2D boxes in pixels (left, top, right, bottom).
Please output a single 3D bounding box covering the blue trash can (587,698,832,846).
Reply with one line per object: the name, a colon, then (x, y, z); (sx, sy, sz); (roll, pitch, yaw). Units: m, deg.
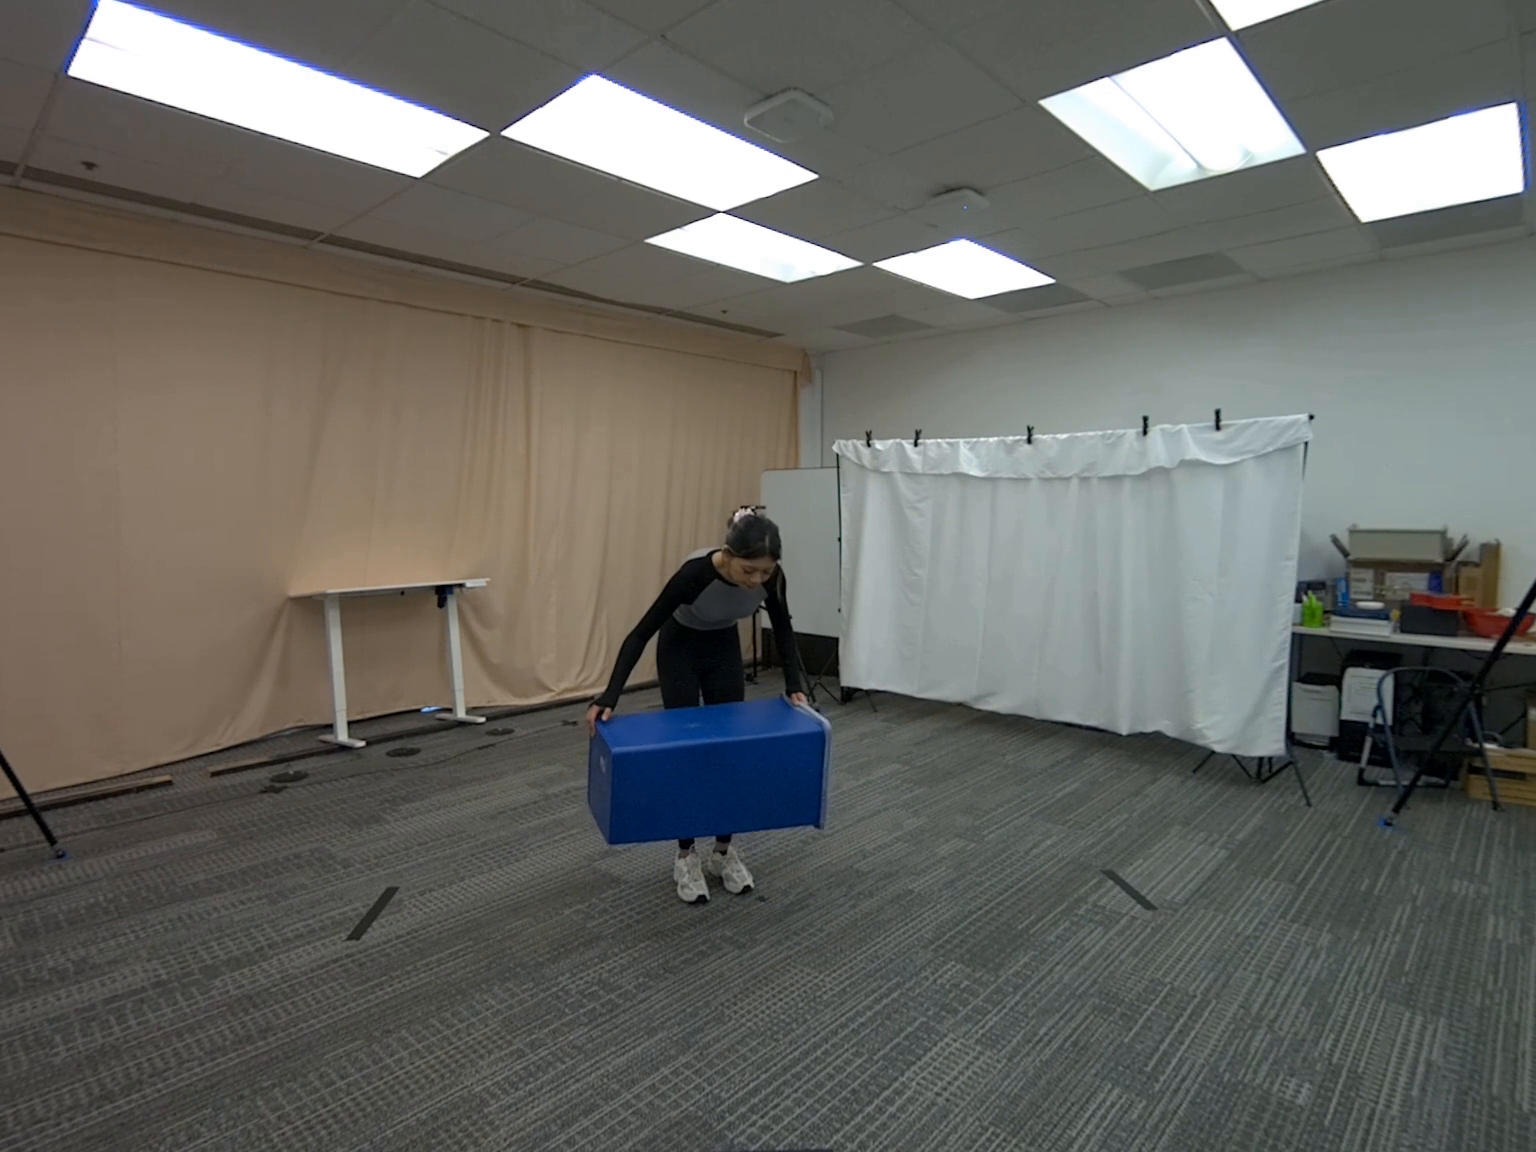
blue trash can: (-0.195, 0.622, 2.731); (0.698, 0.372, 0.388); (0, 9, -22)
